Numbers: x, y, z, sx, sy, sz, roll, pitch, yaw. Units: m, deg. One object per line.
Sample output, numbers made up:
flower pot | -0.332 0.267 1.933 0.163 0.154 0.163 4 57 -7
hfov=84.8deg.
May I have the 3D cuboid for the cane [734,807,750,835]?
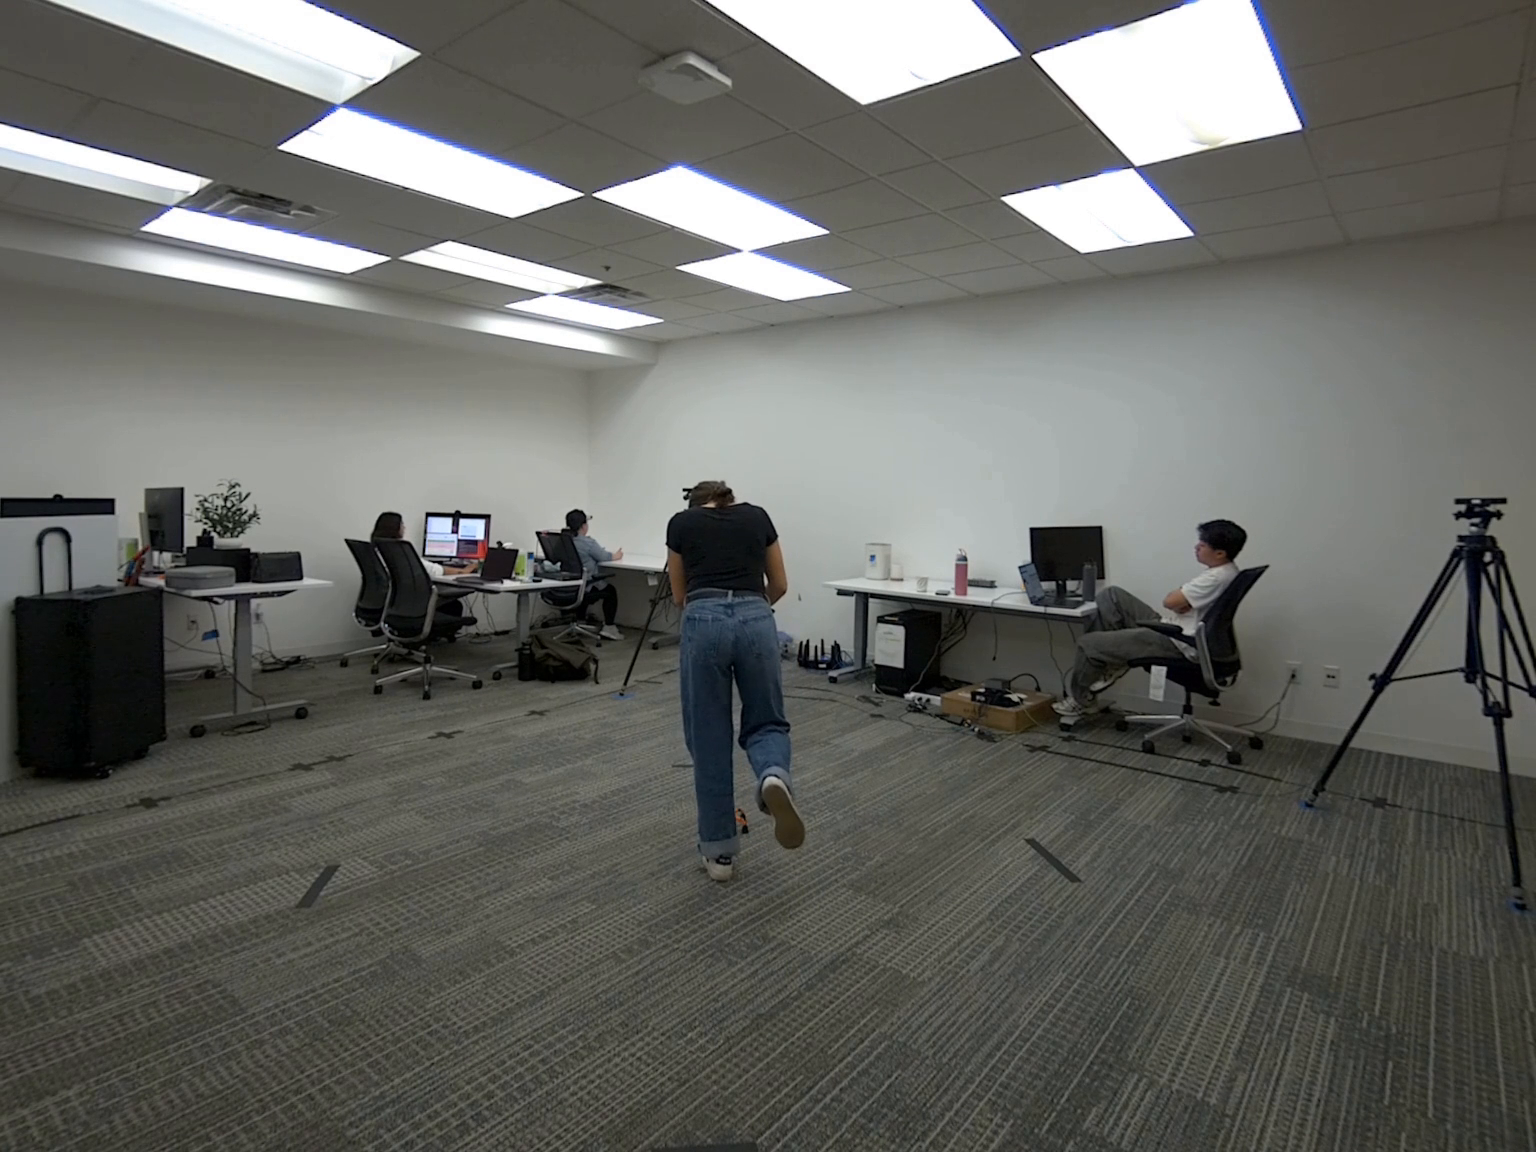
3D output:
cane | -0.169 0.563 3.493 0.206 0.906 0.152 1 2 -4
